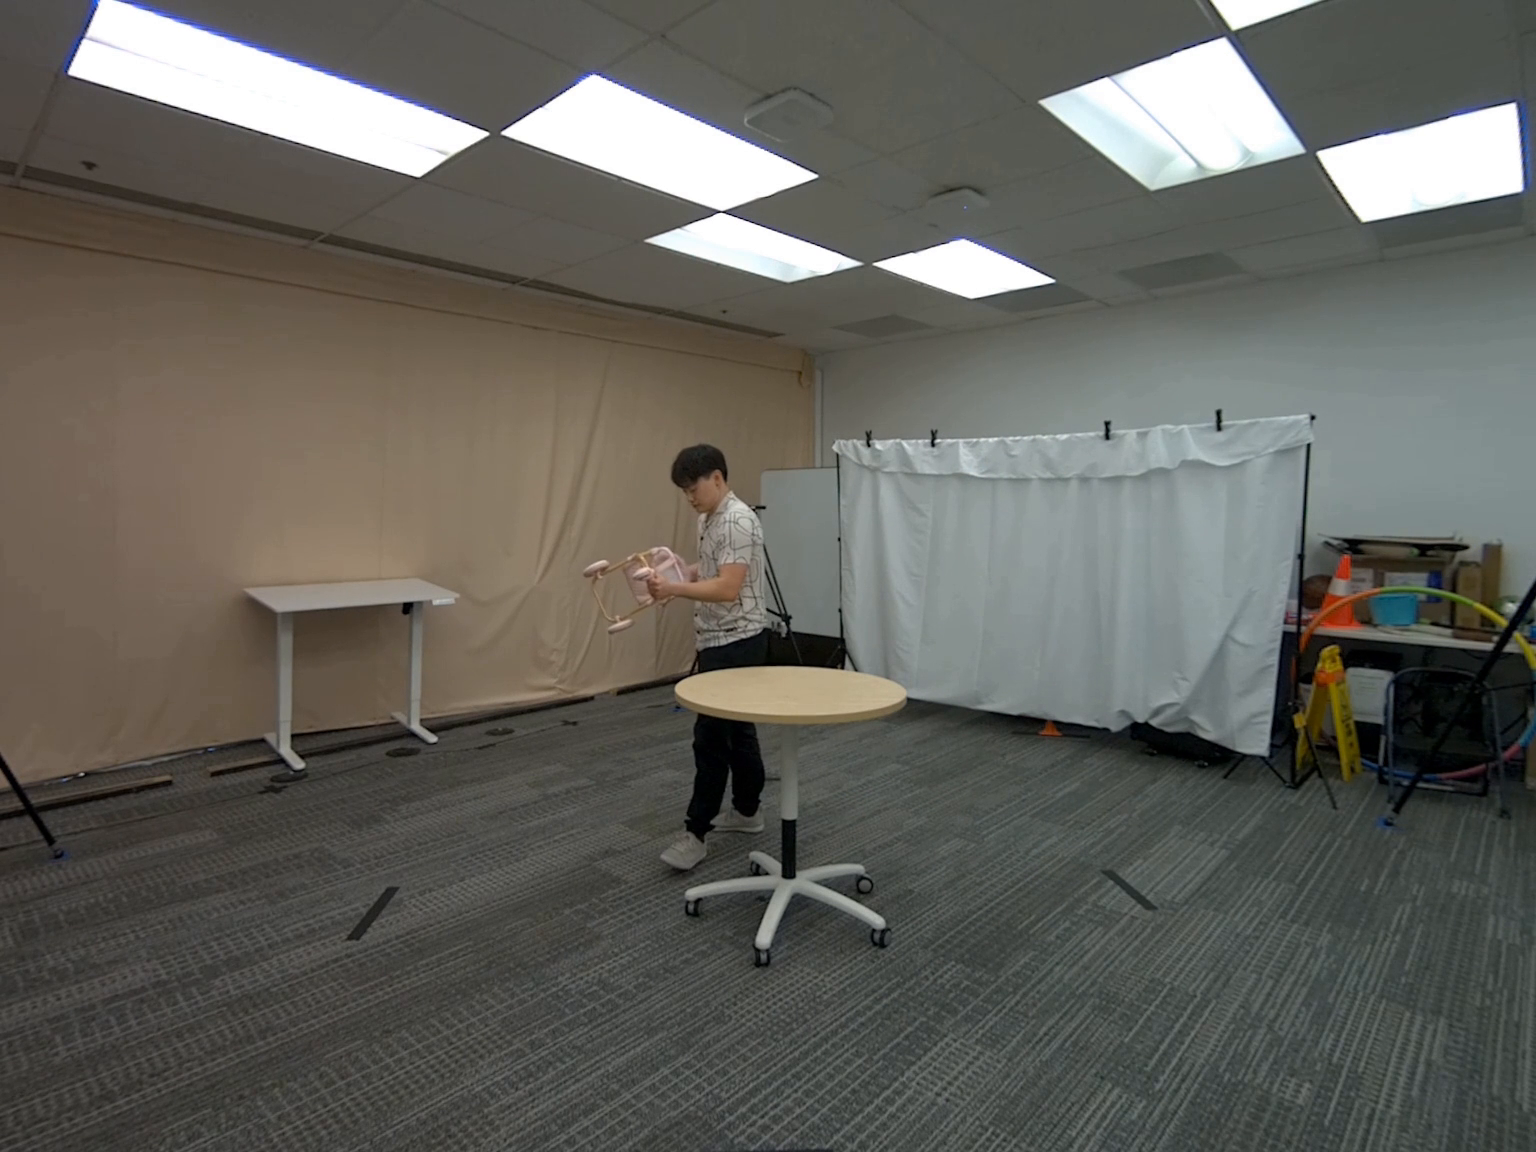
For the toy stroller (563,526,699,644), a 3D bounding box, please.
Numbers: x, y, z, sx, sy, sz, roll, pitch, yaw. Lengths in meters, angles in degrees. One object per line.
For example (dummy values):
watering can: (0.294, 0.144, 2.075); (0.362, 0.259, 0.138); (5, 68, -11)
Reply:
toy stroller: (-0.478, 0.021, 3.387); (0.346, 0.284, 0.523); (-32, -8, 25)
